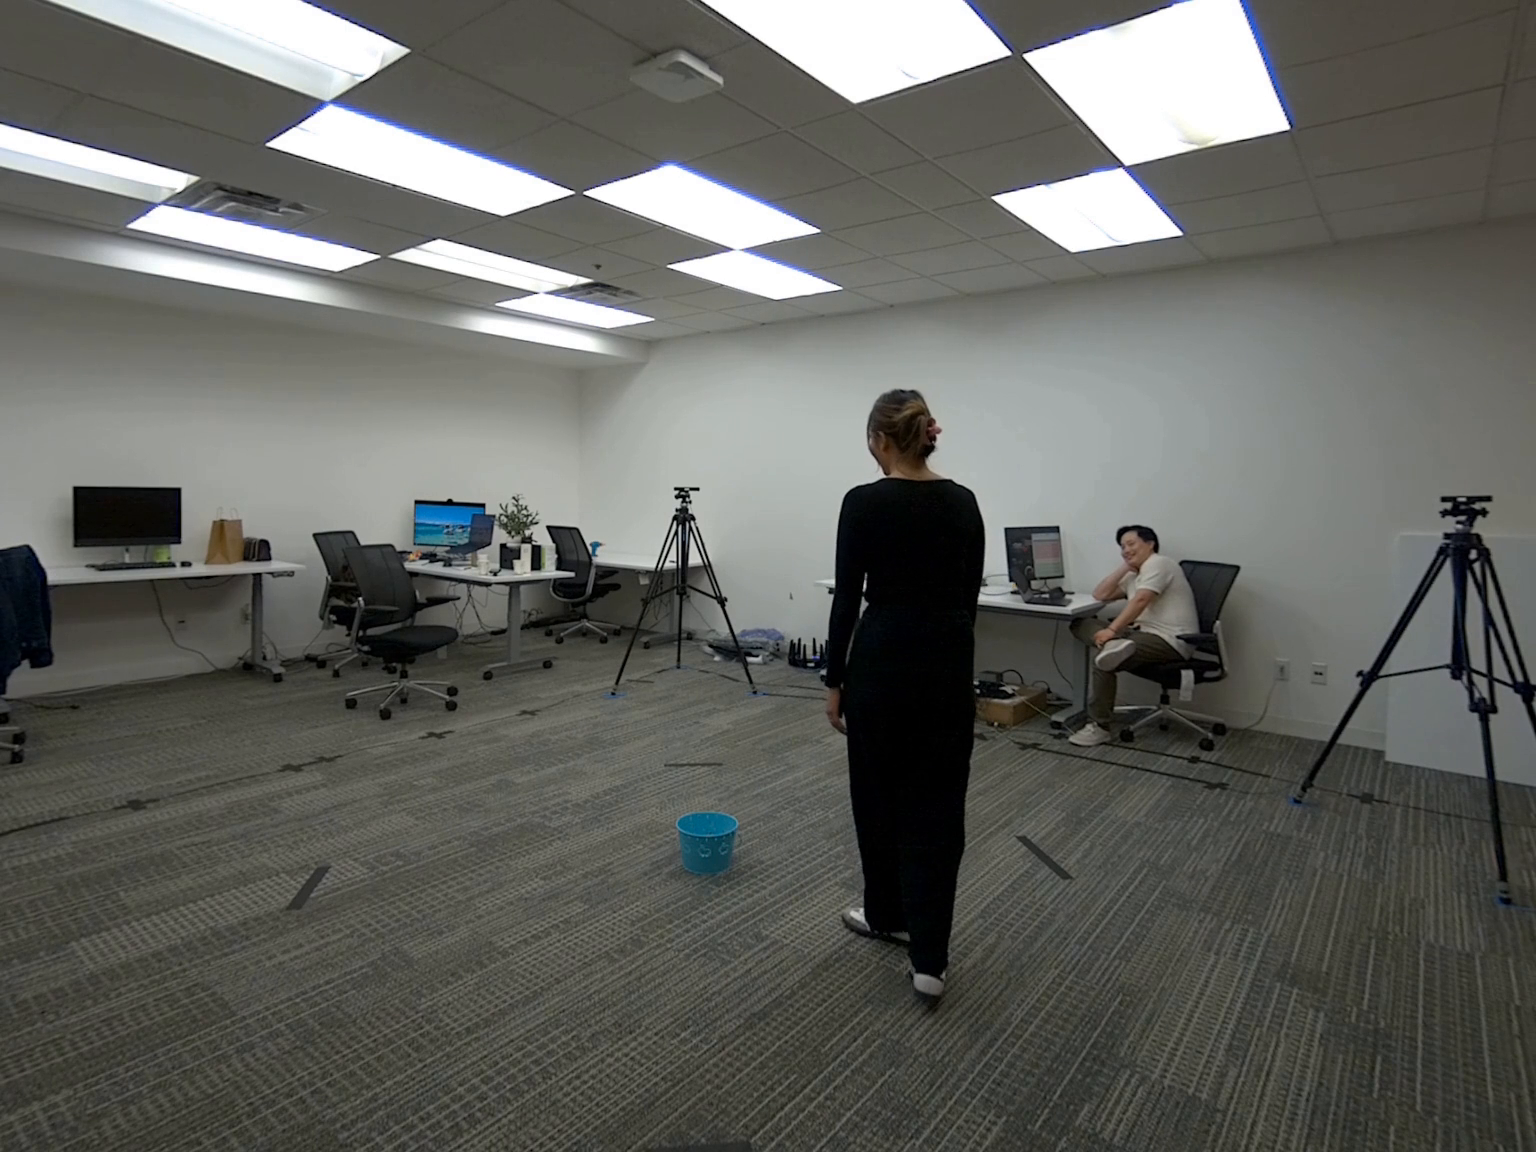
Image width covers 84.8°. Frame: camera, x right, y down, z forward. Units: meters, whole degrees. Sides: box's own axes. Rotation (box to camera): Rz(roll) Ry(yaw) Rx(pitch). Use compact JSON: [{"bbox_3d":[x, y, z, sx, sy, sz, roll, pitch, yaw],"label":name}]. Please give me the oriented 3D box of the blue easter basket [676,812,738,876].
[{"bbox_3d":[-0.228,0.983,3.147,0.243,0.155,0.245,1,5,-2],"label":"blue easter basket"}]
